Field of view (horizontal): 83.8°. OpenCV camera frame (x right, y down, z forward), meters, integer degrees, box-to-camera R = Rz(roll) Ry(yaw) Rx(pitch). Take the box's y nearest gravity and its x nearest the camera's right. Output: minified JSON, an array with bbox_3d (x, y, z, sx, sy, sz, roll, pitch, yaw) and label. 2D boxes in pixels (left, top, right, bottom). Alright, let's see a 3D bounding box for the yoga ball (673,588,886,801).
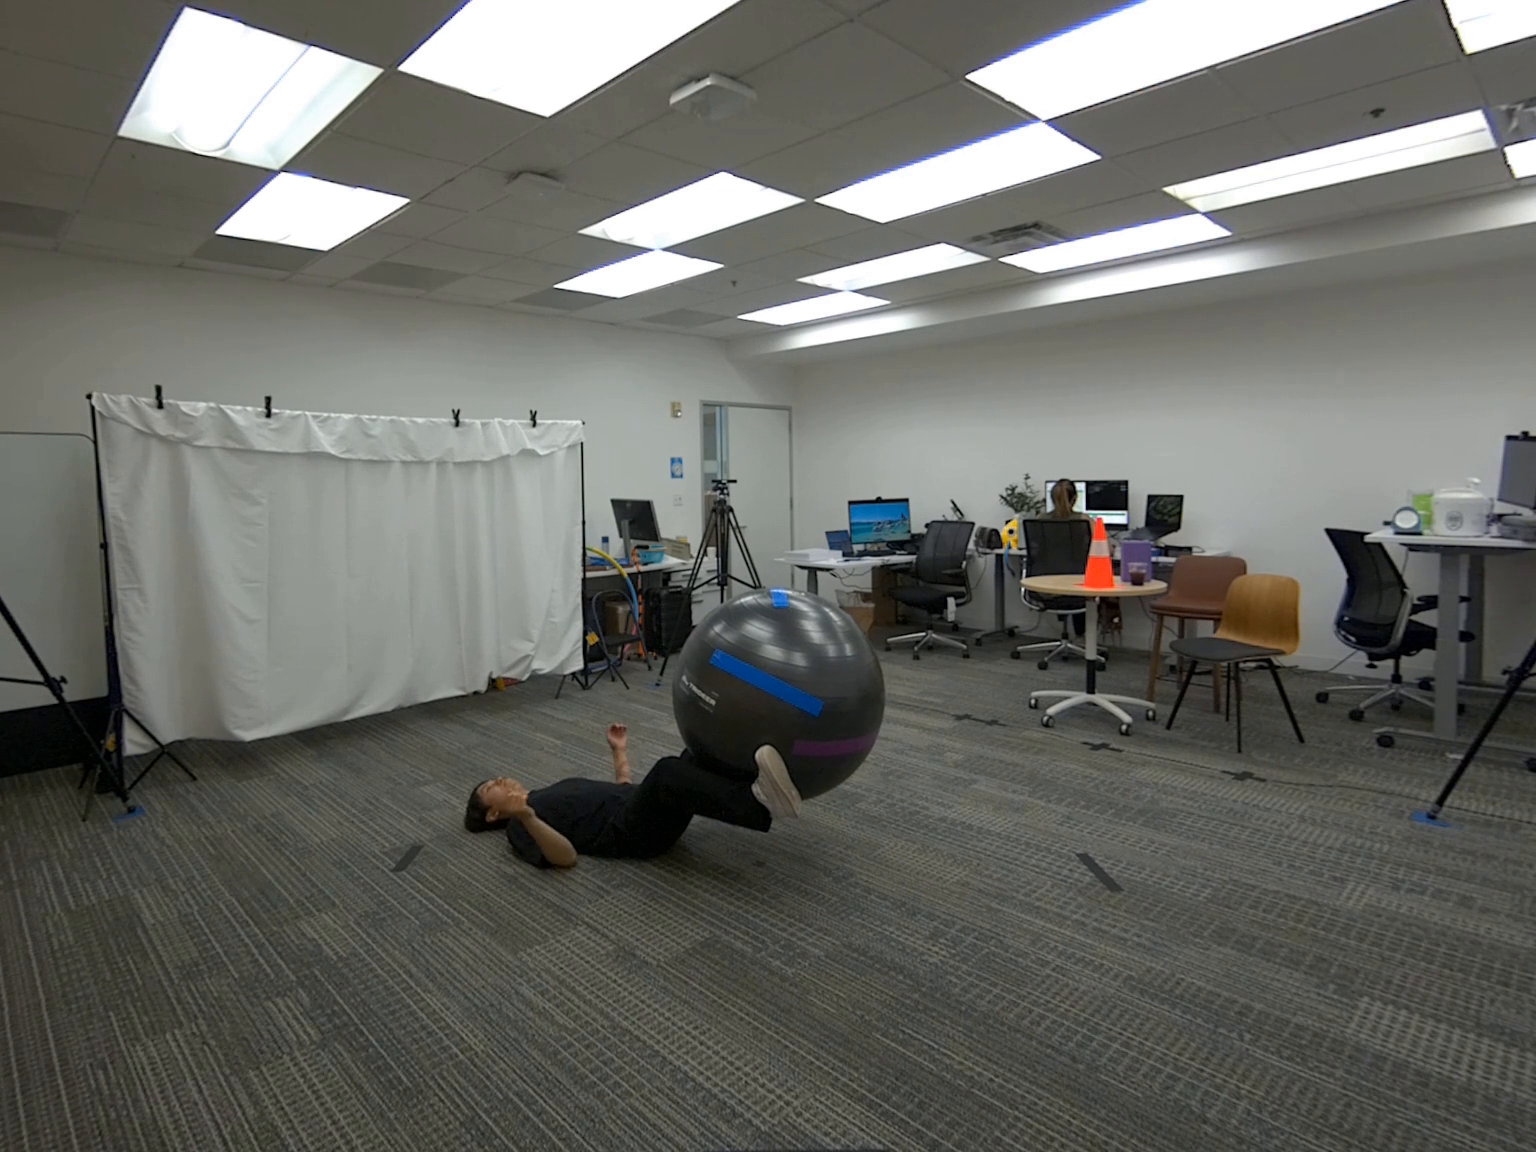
[{"bbox_3d":[0.034,0.429,3.090,0.757,0.755,0.762,-1,5,-2],"label":"yoga ball"}]
